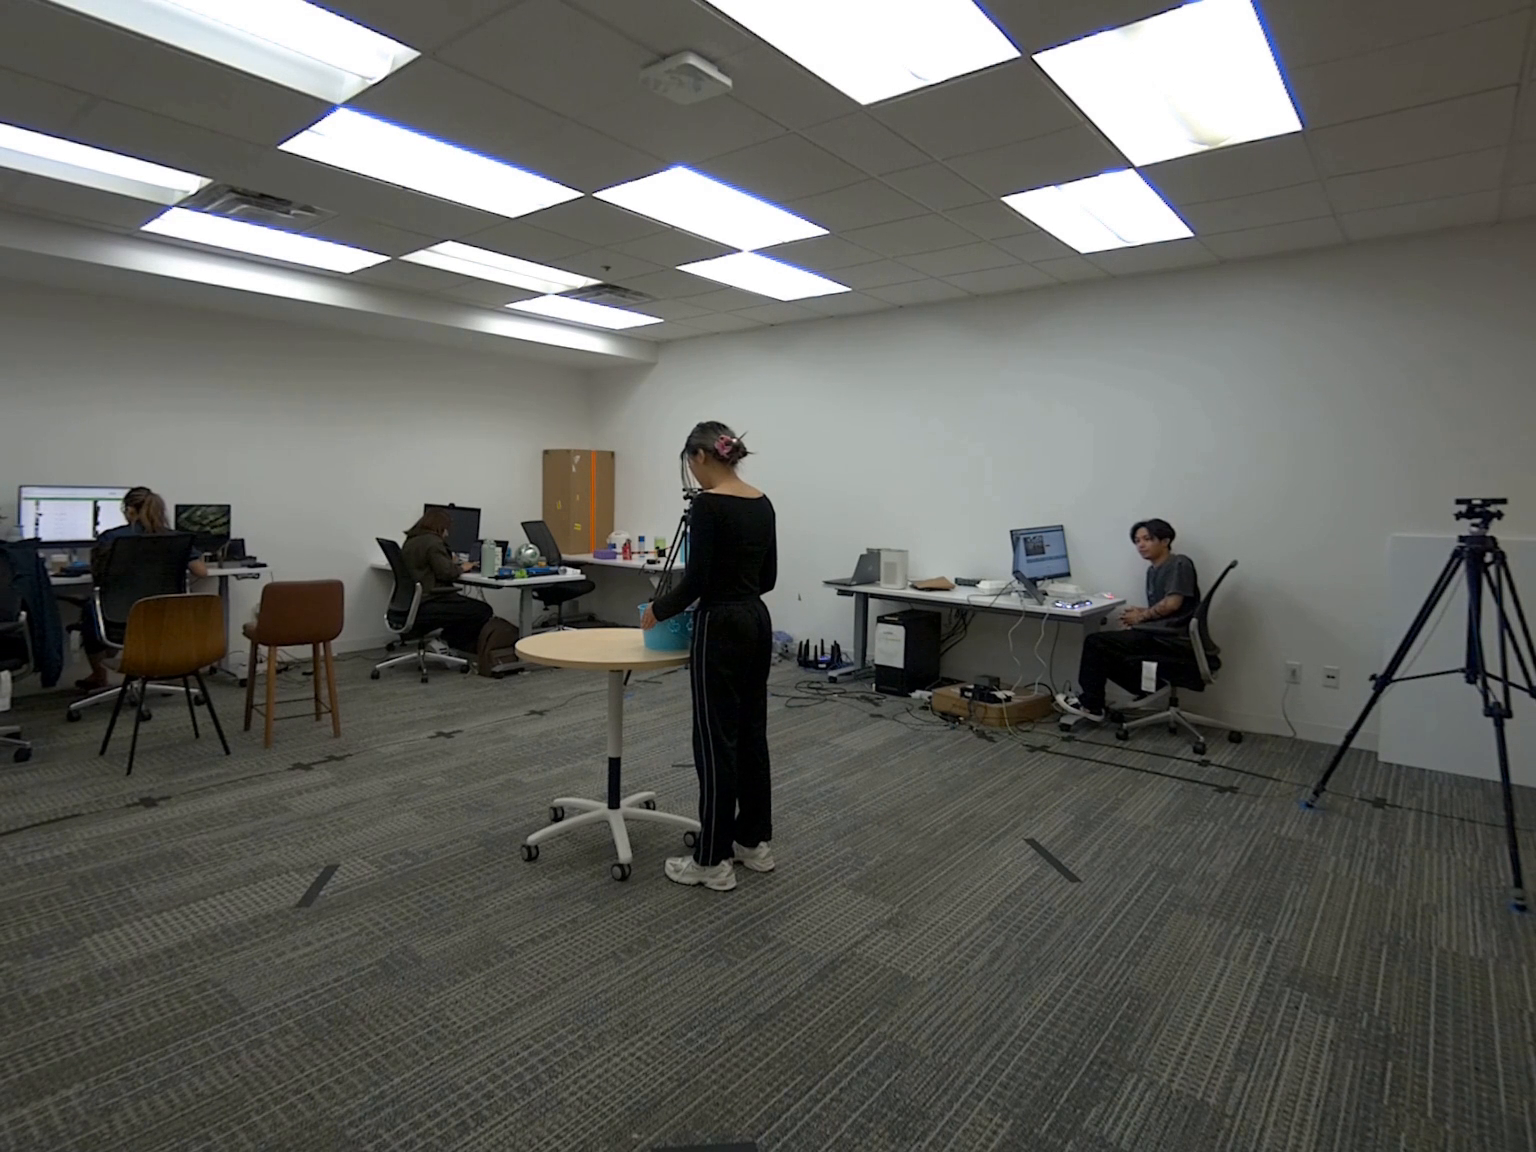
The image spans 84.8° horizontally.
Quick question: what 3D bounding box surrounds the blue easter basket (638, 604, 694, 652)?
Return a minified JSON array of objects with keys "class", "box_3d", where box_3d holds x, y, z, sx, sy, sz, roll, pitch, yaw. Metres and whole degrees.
[{"class":"blue easter basket","box_3d":[-0.383,0.194,3.258,0.243,0.155,0.245,1,5,-2]}]
